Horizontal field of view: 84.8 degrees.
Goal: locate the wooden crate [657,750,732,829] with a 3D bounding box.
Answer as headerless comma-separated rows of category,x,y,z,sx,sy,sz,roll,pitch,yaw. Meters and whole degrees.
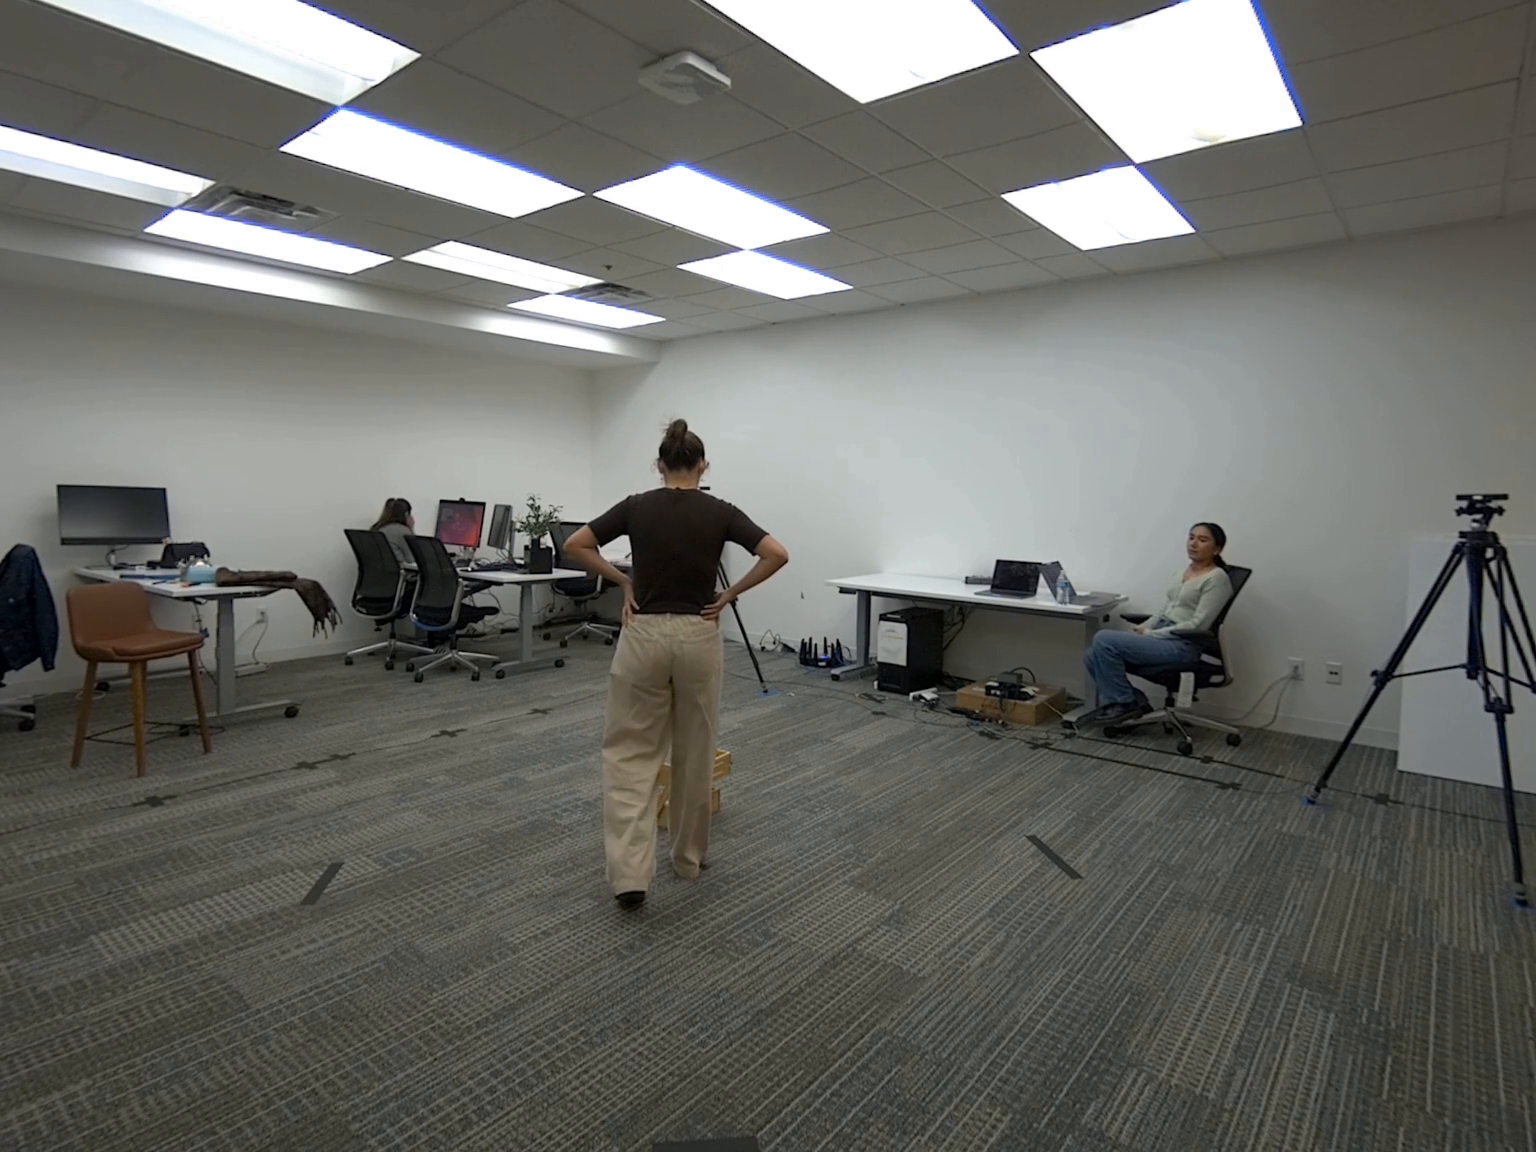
wooden crate,-0.377,0.876,3.606,0.311,0.272,0.316,5,7,33
